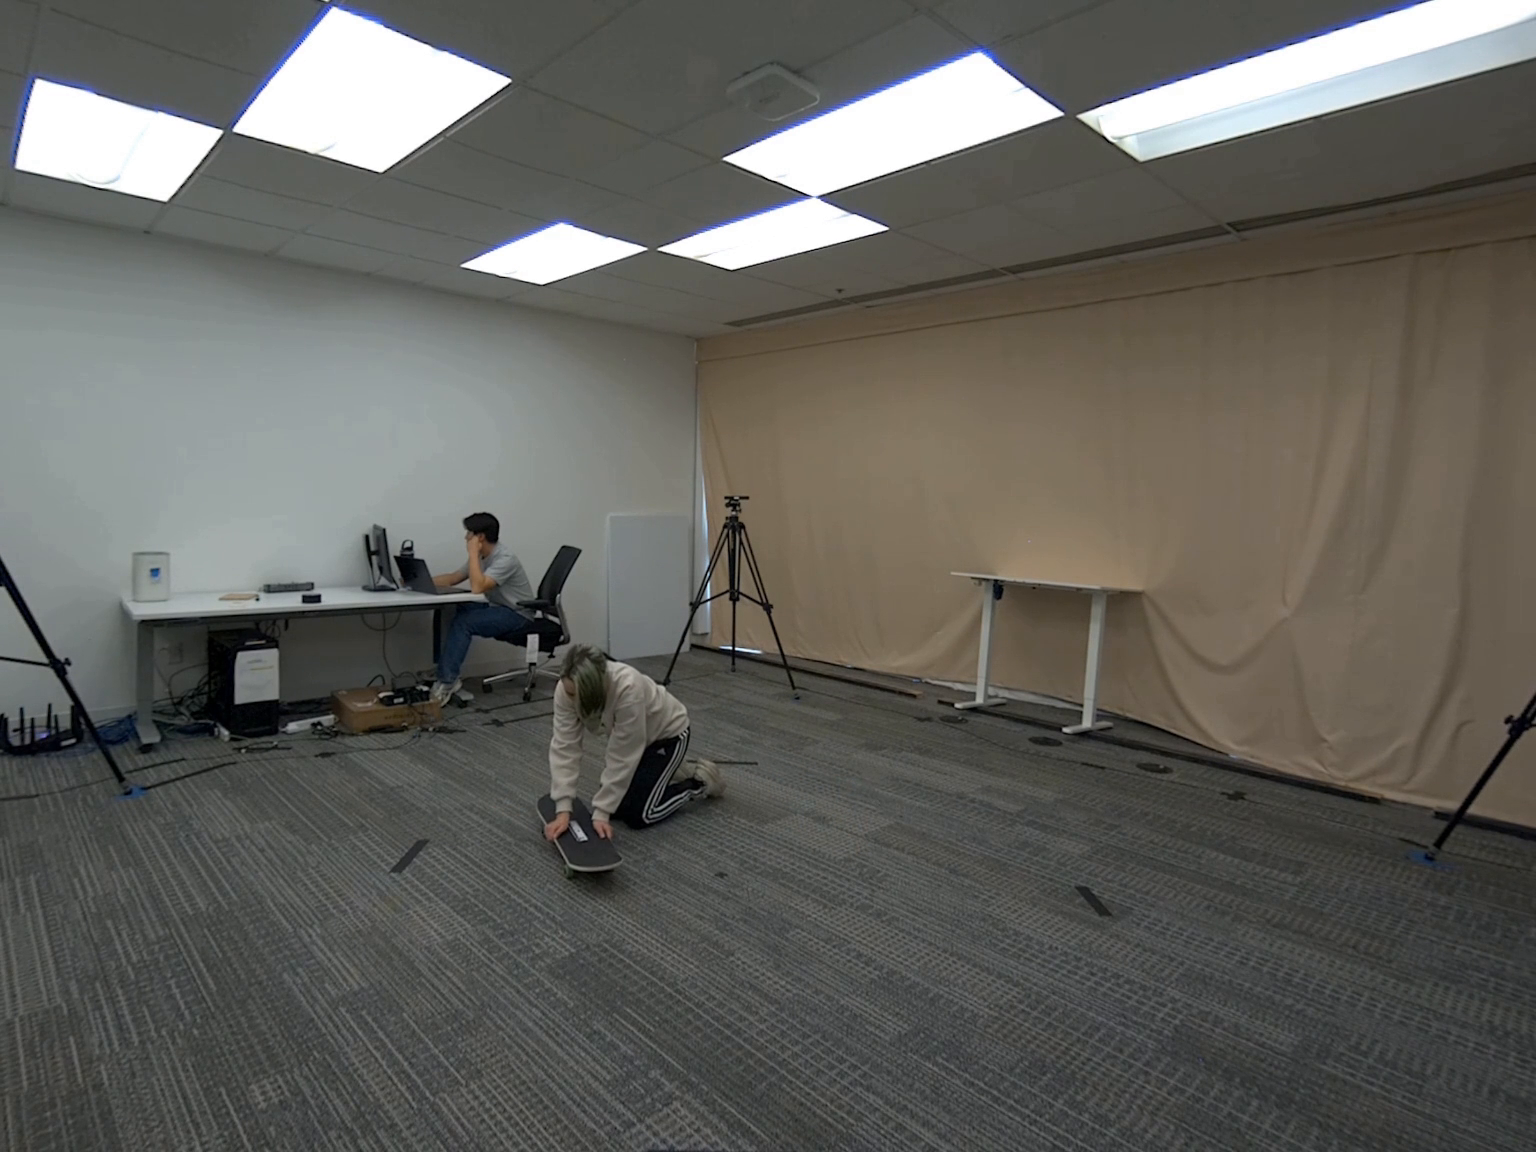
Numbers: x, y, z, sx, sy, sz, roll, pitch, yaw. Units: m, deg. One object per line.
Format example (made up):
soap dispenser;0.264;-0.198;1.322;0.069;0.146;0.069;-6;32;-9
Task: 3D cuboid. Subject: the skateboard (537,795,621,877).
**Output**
skateboard;-0.746;1.017;3.263;0.190;0.110;0.801;-1;5;-25
